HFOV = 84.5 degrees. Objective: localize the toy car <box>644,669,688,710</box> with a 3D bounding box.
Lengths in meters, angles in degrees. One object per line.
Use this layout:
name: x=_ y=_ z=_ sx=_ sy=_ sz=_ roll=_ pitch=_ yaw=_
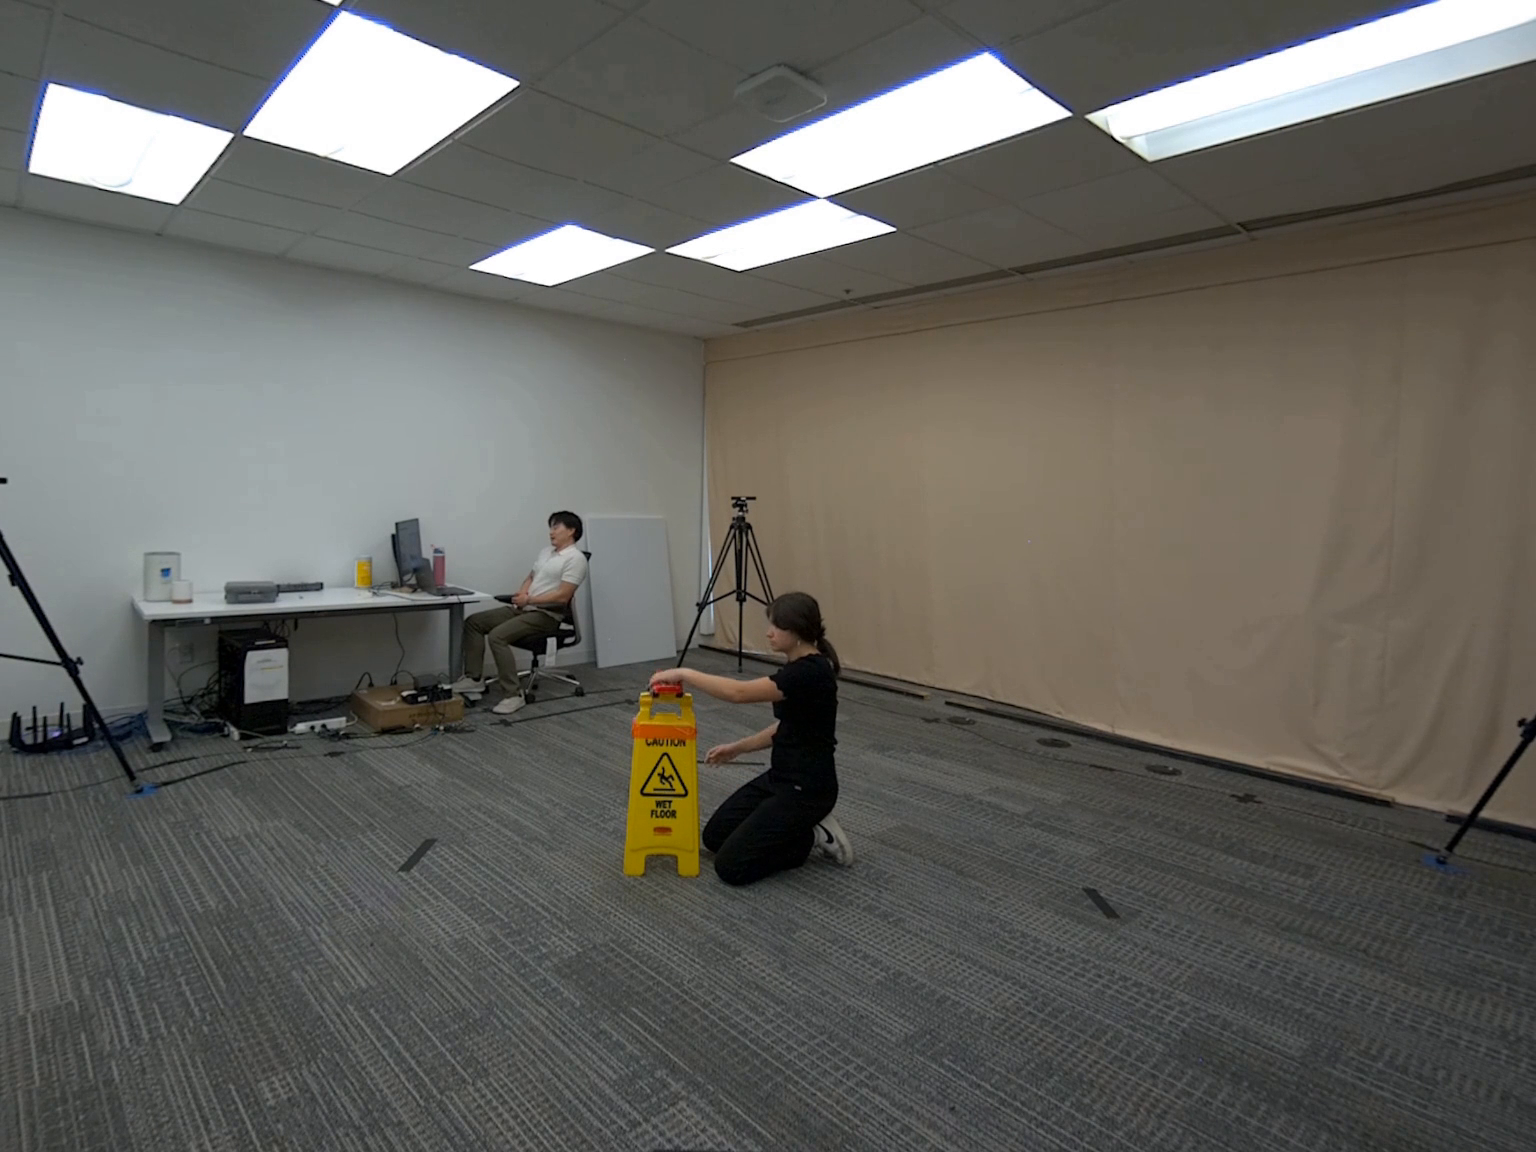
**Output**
toy car: x=-0.387 y=0.422 z=3.172 sx=0.129 sy=0.083 sz=0.258 roll=1 pitch=7 yaw=-12
